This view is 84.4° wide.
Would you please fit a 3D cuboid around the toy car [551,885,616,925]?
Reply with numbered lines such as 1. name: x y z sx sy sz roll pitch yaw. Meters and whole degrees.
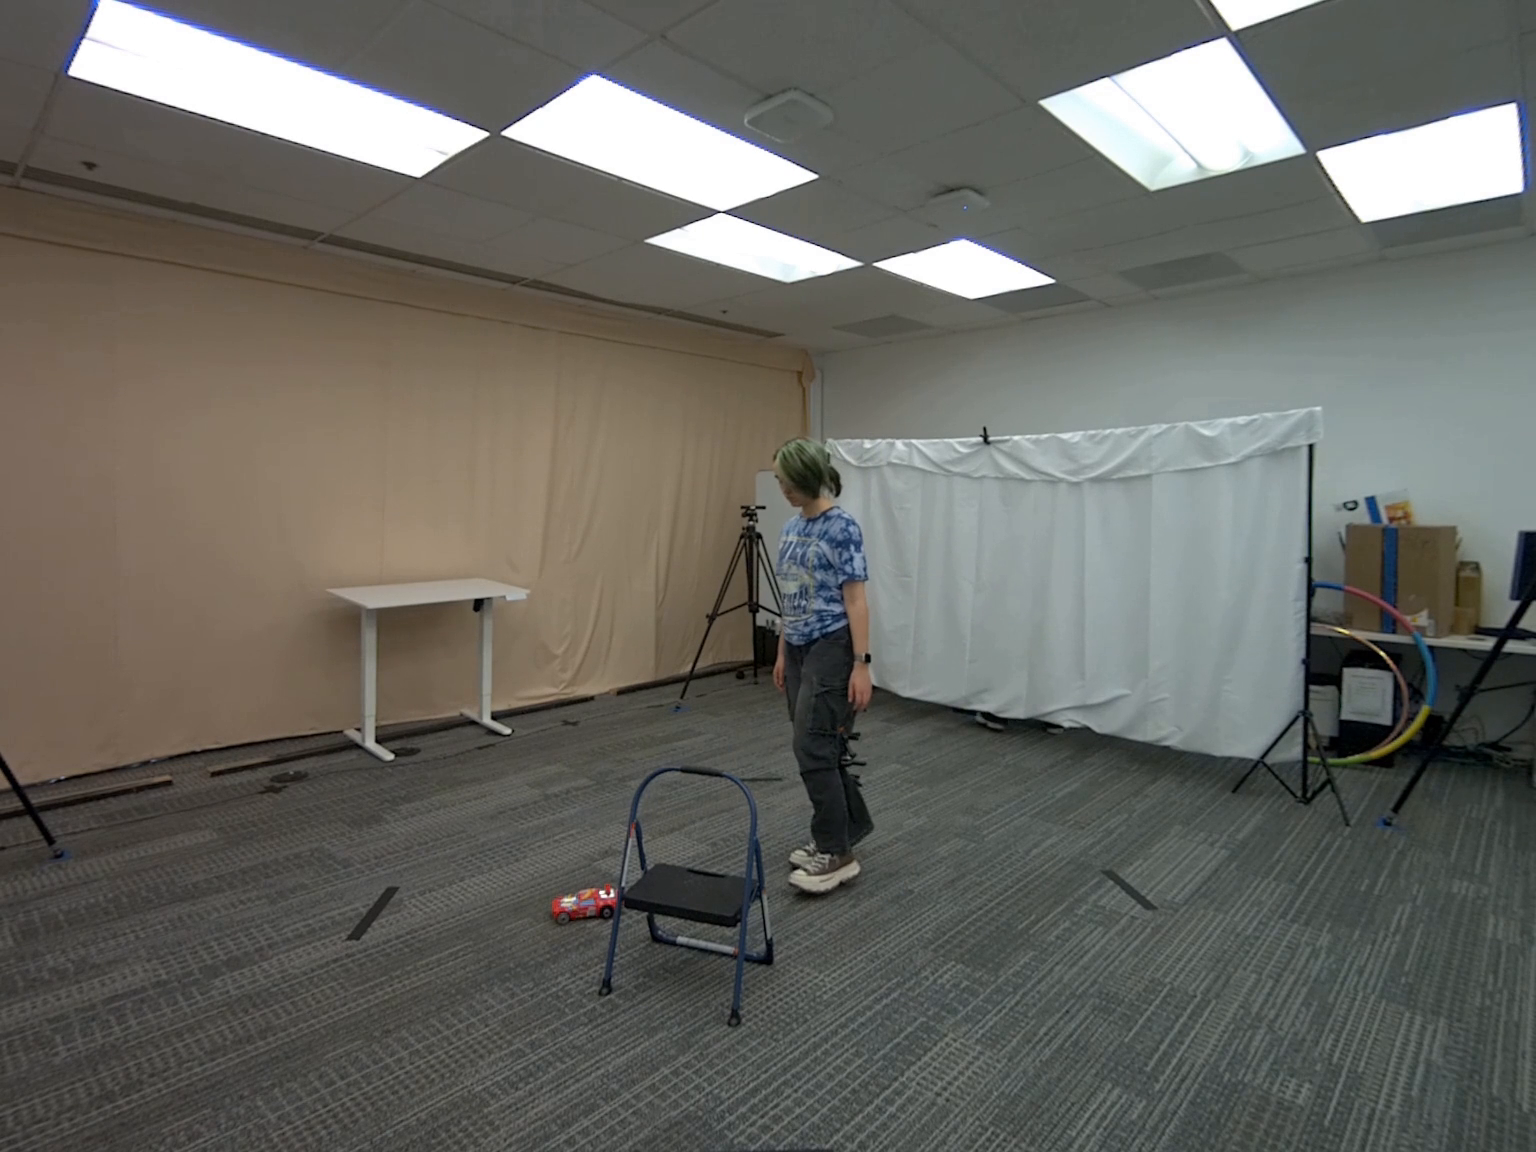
1. toy car: -0.610 1.126 2.880 0.251 0.083 0.132 -12 7 -13
